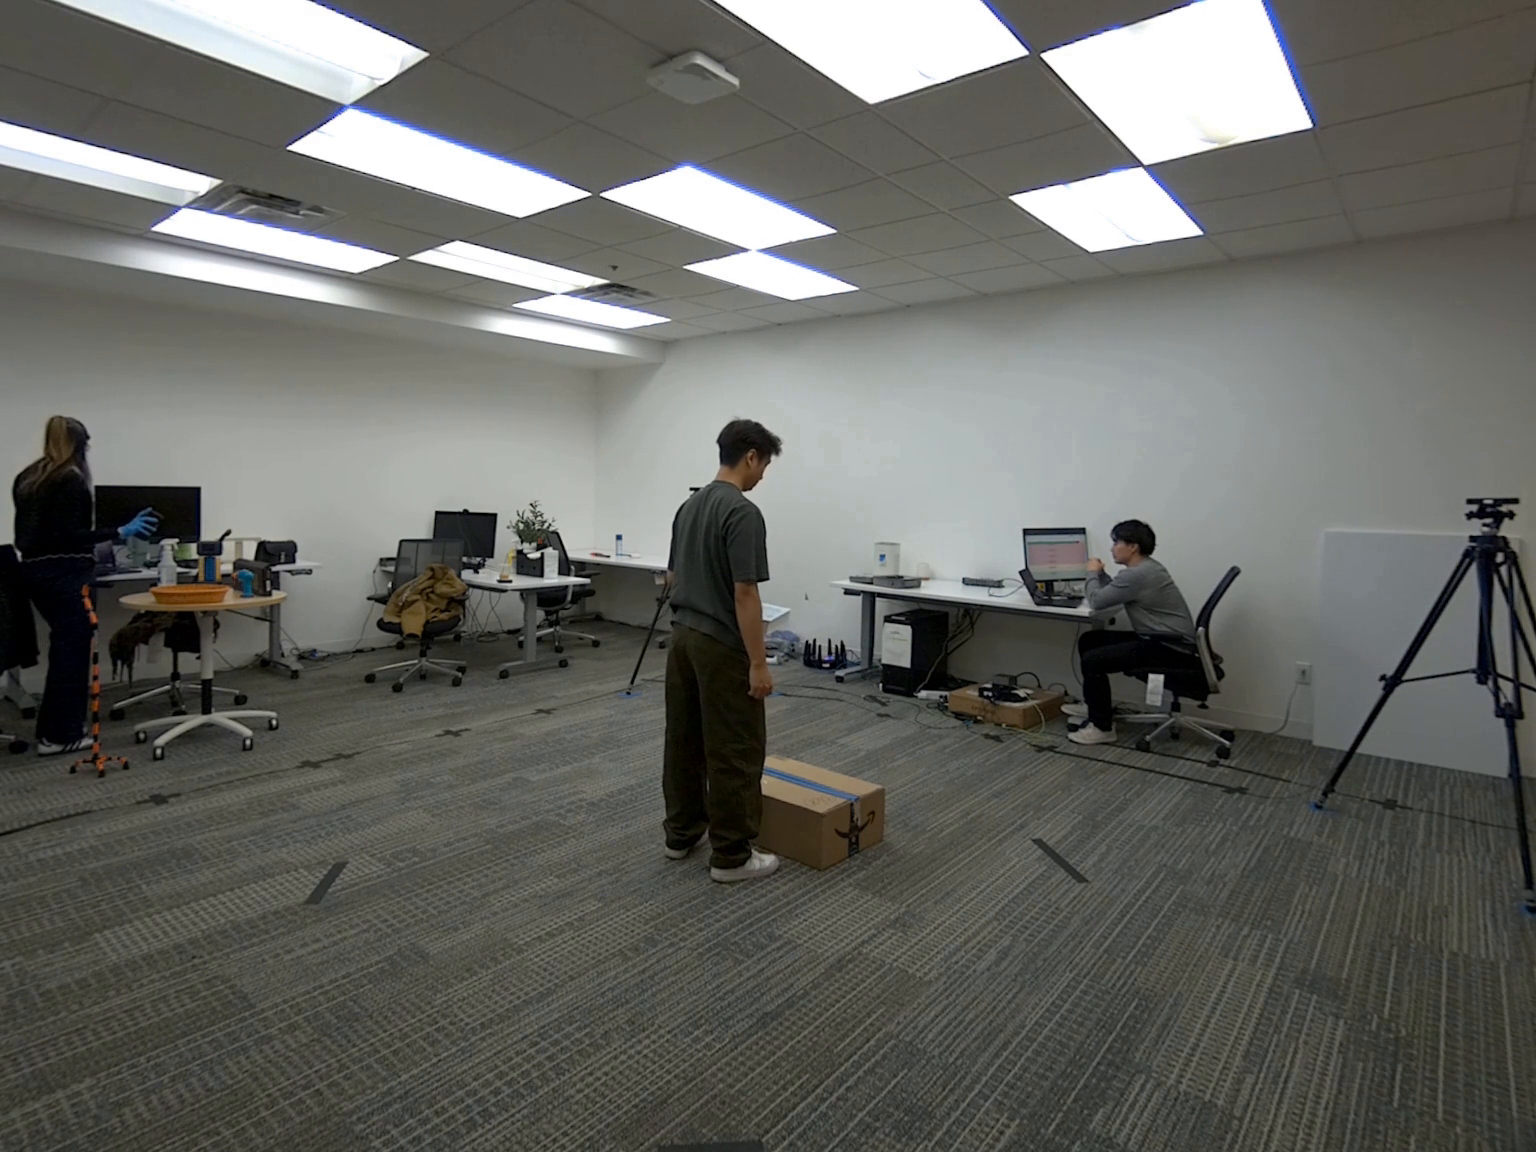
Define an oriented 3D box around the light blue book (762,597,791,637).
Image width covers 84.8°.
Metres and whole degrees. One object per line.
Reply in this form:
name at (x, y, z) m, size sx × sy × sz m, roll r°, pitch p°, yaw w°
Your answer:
light blue book at (-0.043, 0.167, 3.420) m, size 0.196 × 0.058 × 0.257 m, roll 10°, pitch 13°, yaw 20°
